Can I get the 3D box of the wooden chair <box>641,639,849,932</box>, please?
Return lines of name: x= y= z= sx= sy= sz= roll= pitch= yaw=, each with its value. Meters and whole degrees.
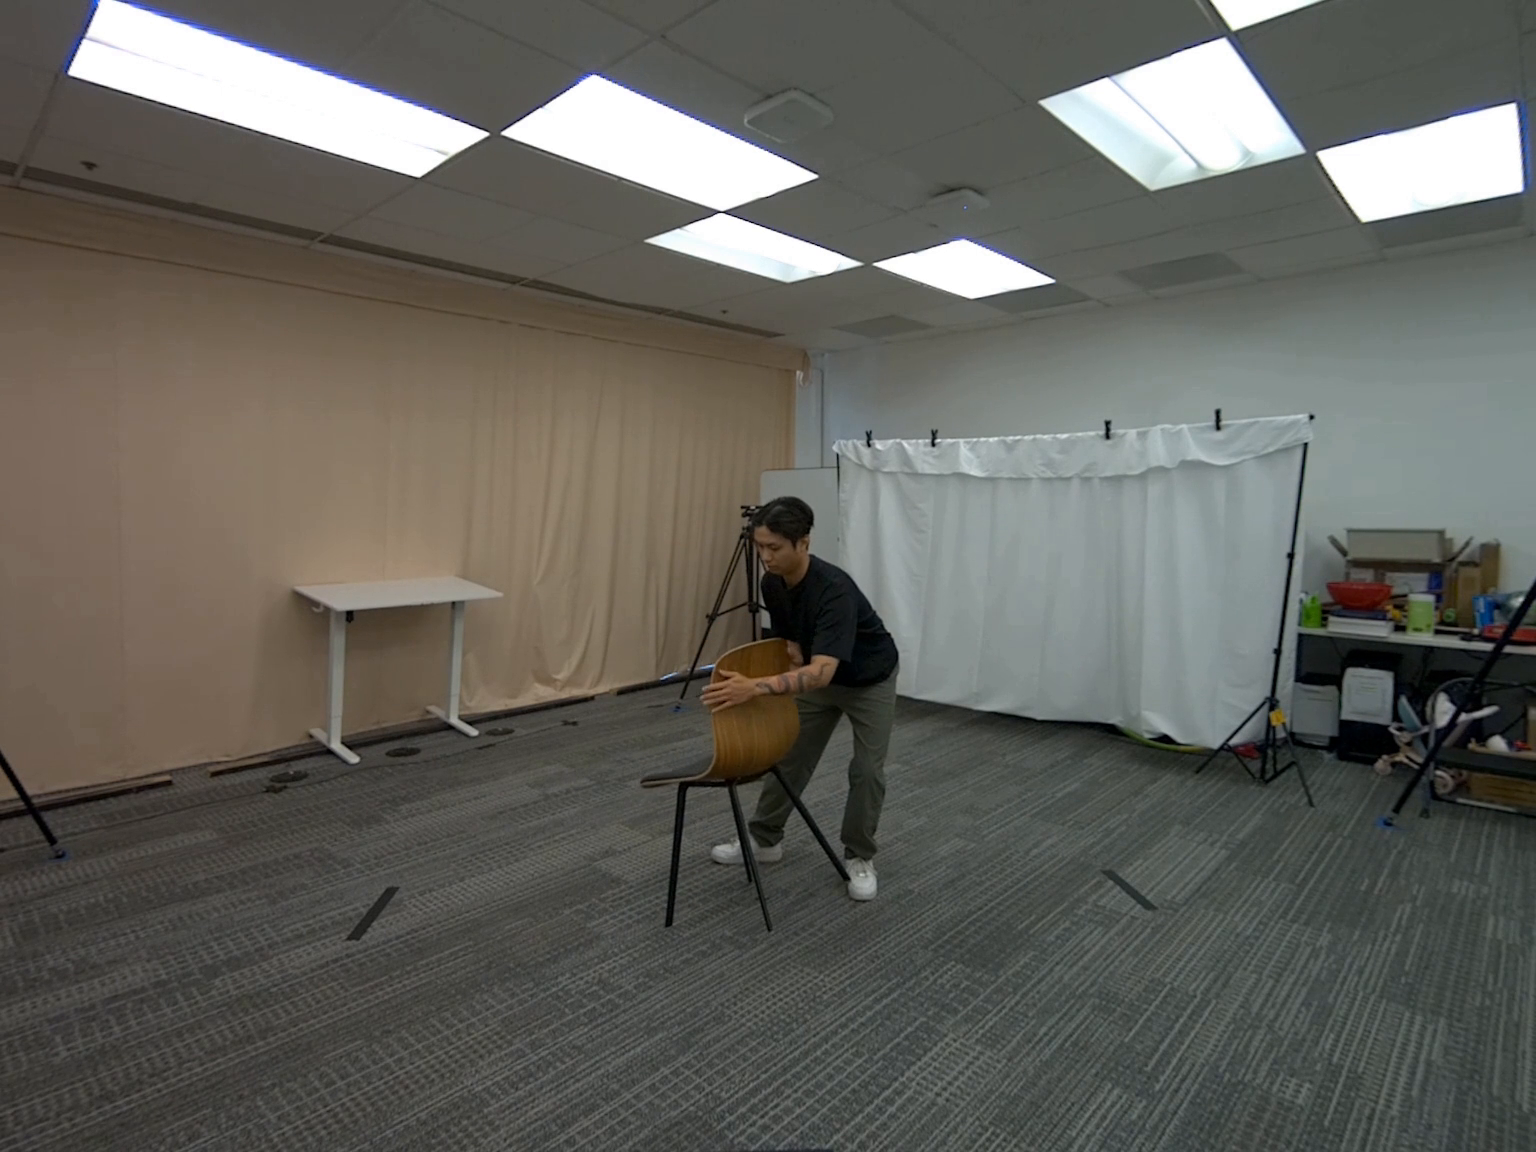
wooden chair: x=-0.132 y=0.684 z=2.863 sx=0.537 sy=0.881 sz=0.464 roll=-14 pitch=-6 yaw=38
